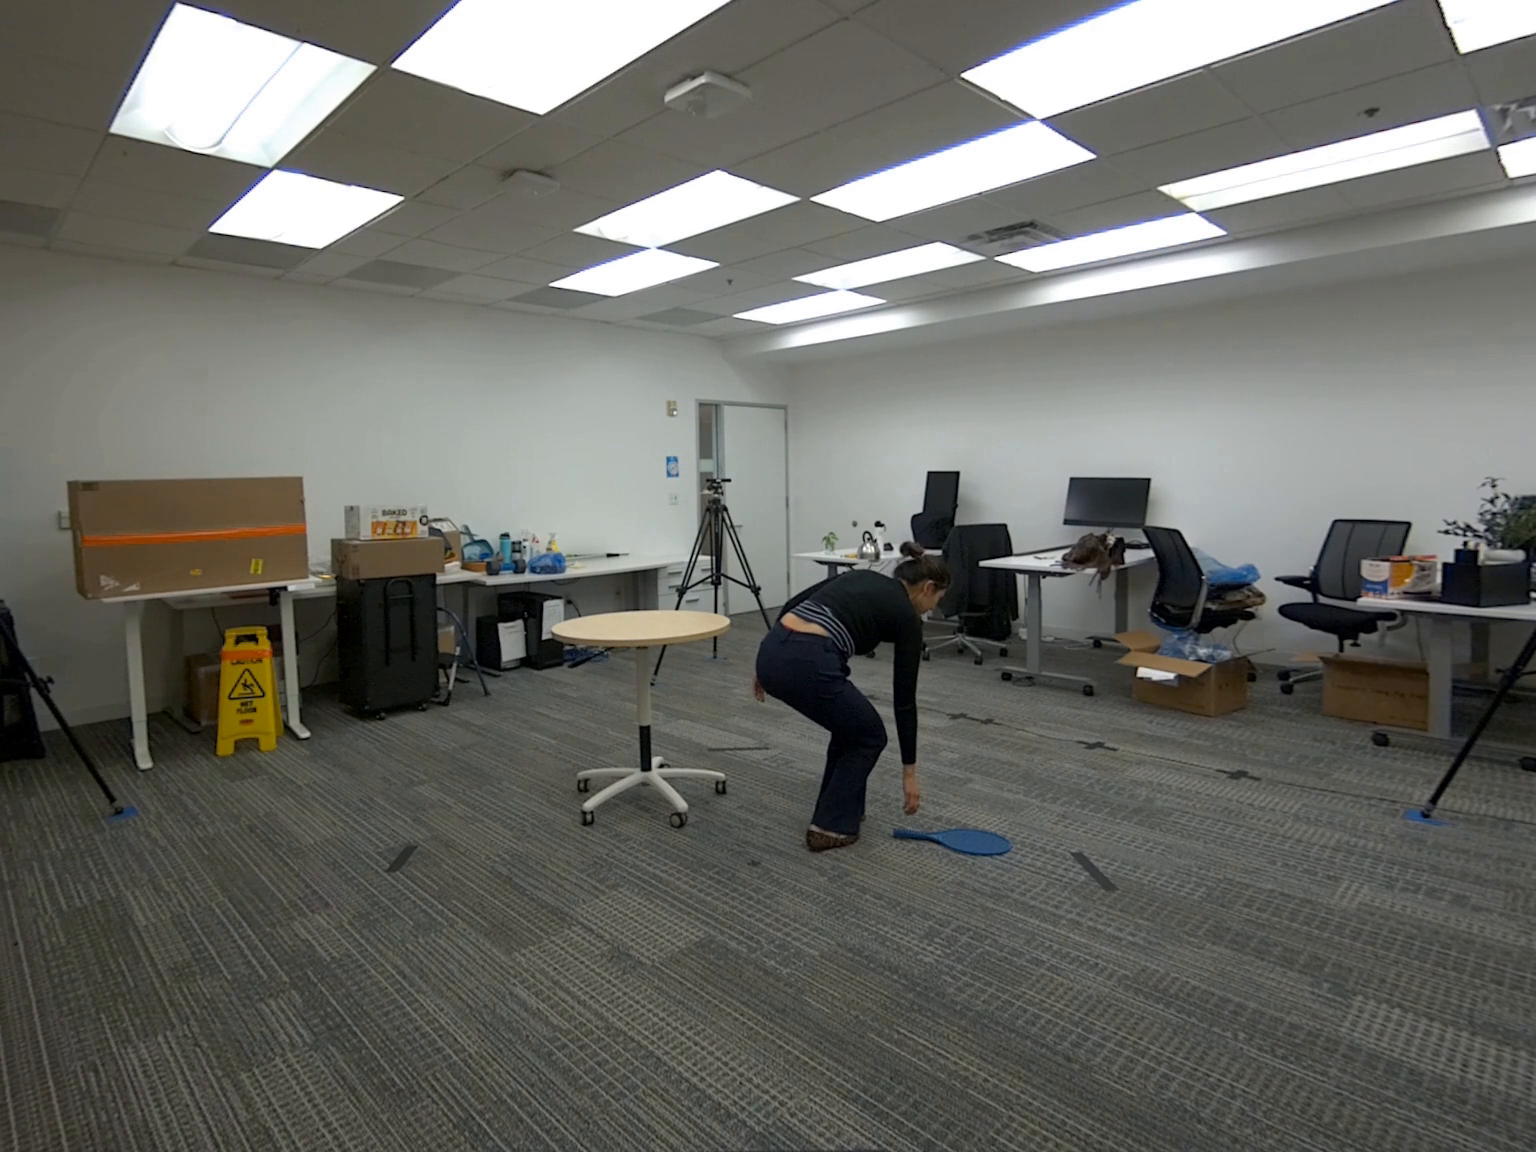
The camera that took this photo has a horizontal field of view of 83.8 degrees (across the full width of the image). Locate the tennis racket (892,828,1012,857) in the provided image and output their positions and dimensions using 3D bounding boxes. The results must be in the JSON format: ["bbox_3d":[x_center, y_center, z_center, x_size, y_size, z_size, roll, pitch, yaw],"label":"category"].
[{"bbox_3d":[0.697,1.000,3.251,0.438,0.031,0.212,2,7,12],"label":"tennis racket"}]
